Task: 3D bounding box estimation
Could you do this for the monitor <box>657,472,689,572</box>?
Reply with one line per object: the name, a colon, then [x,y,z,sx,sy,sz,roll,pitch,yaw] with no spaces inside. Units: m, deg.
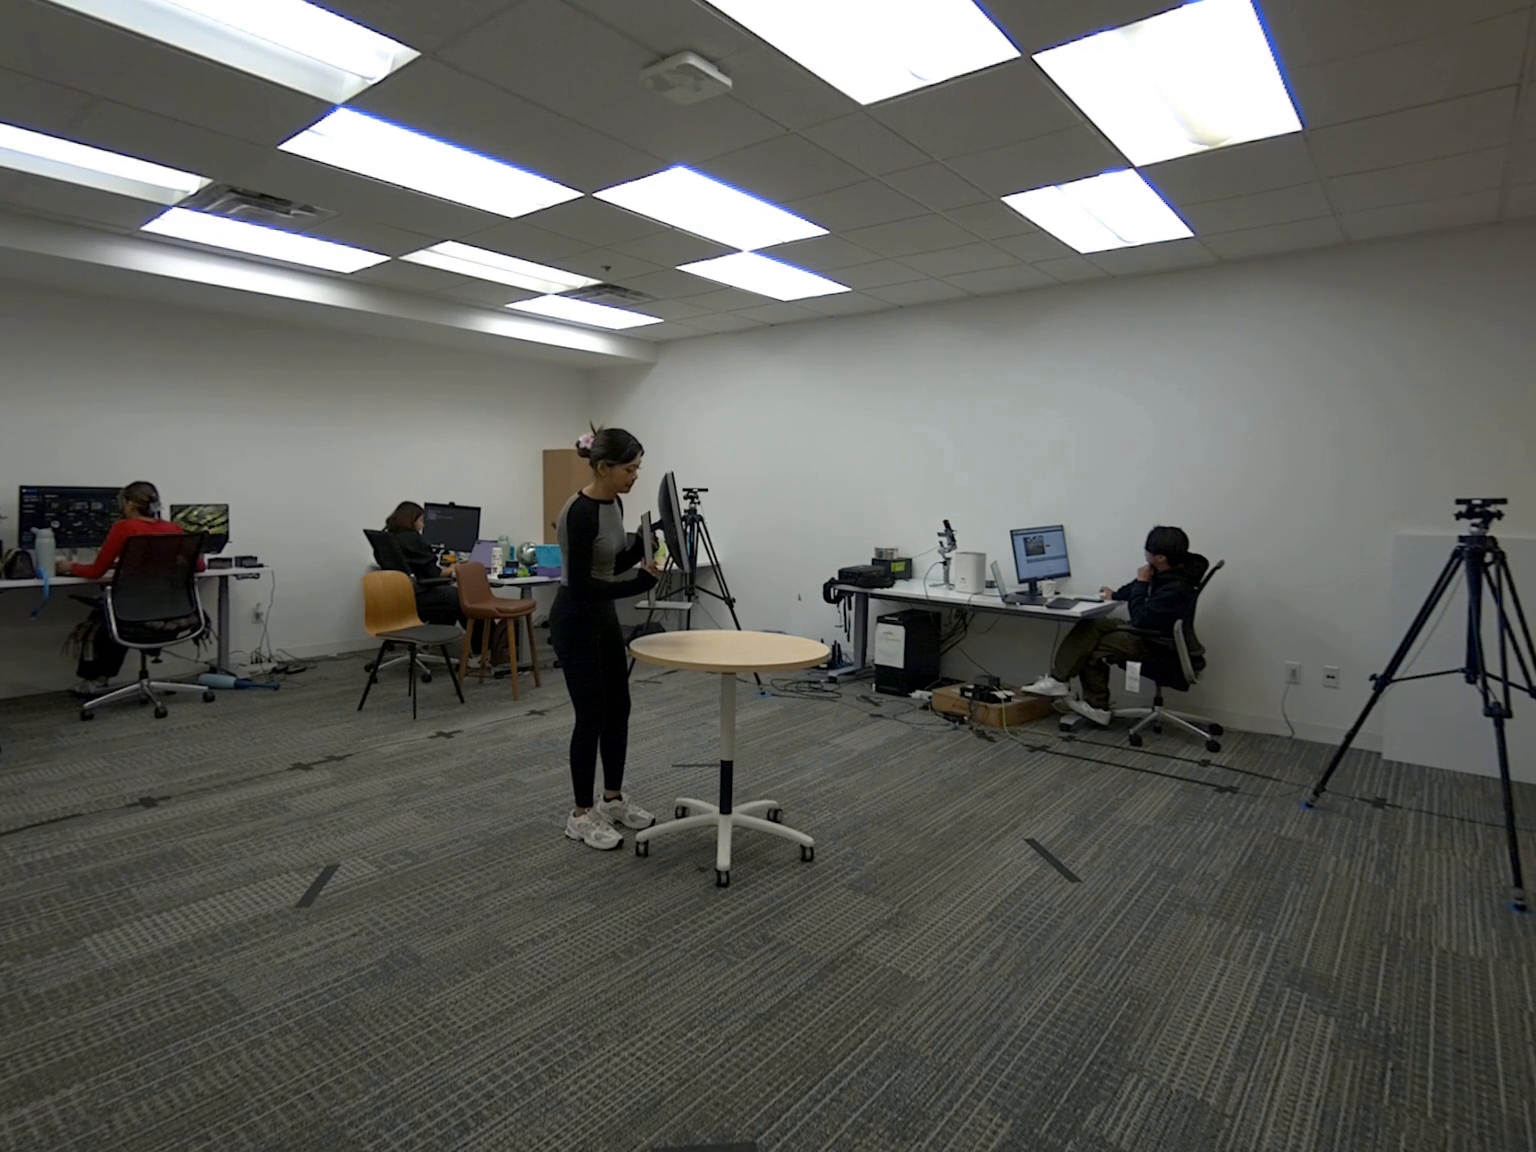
monitor: [-0.414,-0.127,3.281,0.185,0.523,0.544,2,0,-11]
